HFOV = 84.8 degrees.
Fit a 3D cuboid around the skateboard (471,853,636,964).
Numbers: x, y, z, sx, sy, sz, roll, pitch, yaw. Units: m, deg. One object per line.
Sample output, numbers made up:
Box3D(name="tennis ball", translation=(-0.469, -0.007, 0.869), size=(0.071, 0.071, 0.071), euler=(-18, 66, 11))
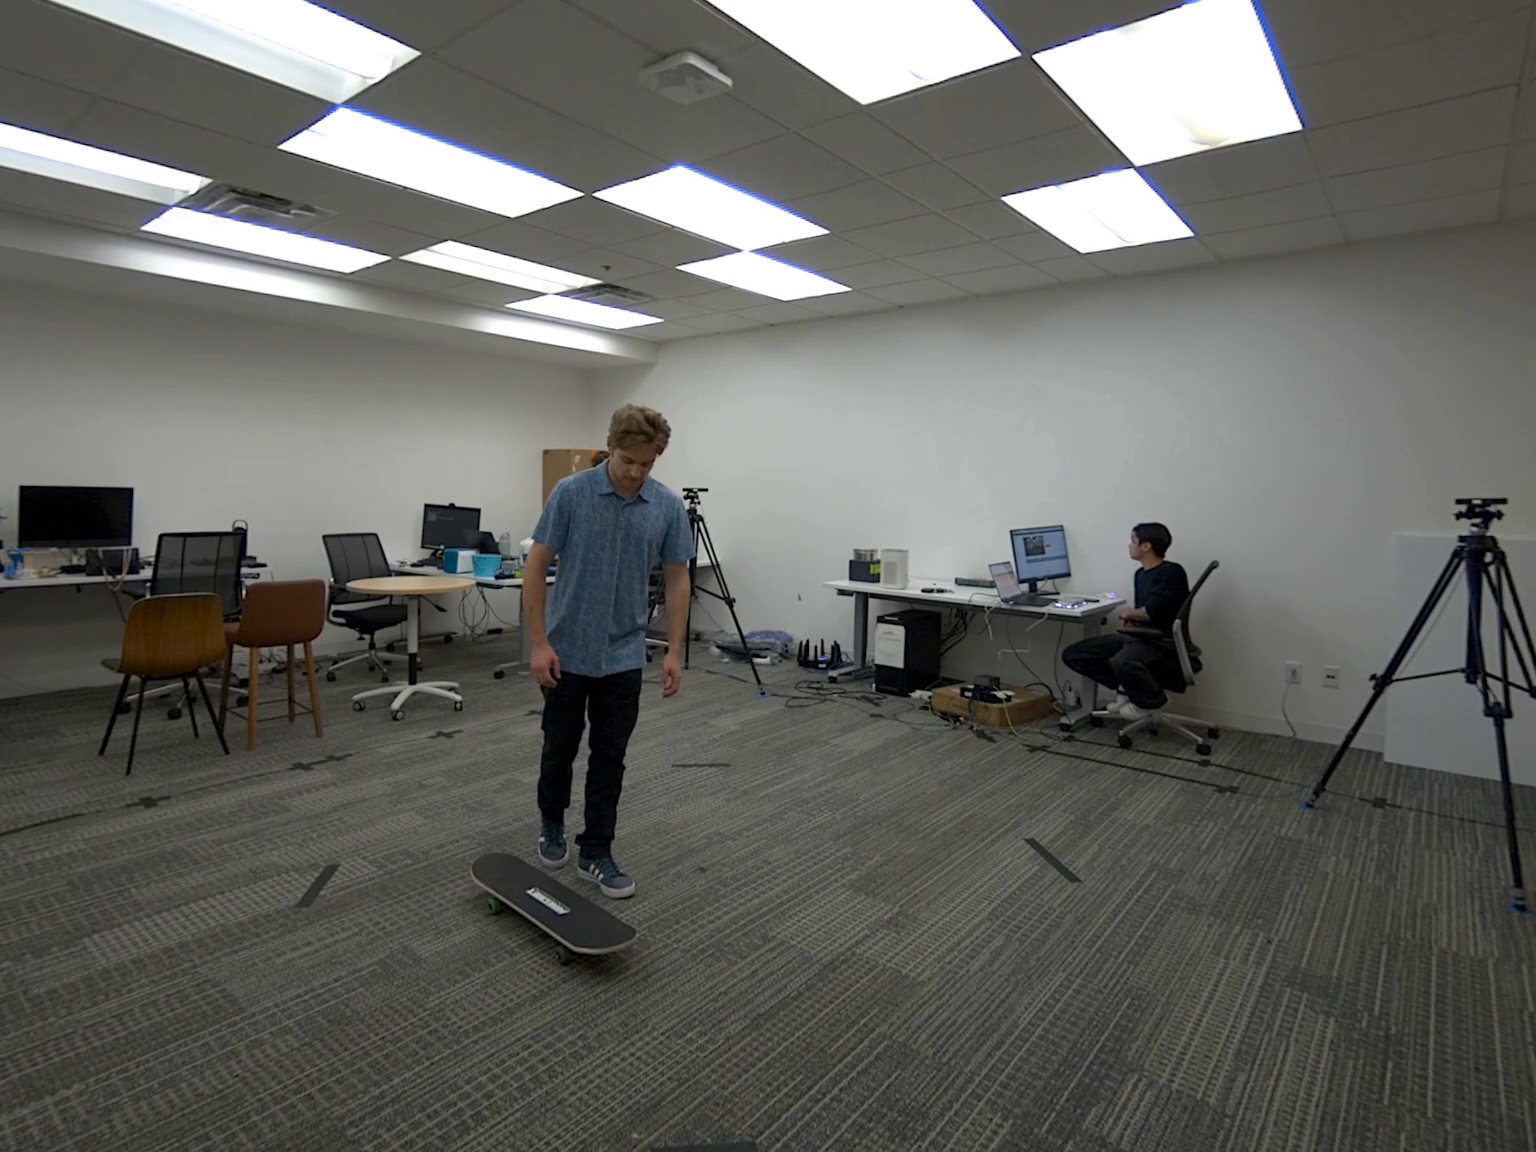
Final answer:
Box3D(name="skateboard", translation=(-0.705, 1.046, 2.671), size=(0.813, 0.110, 0.188), euler=(7, 8, 44))
